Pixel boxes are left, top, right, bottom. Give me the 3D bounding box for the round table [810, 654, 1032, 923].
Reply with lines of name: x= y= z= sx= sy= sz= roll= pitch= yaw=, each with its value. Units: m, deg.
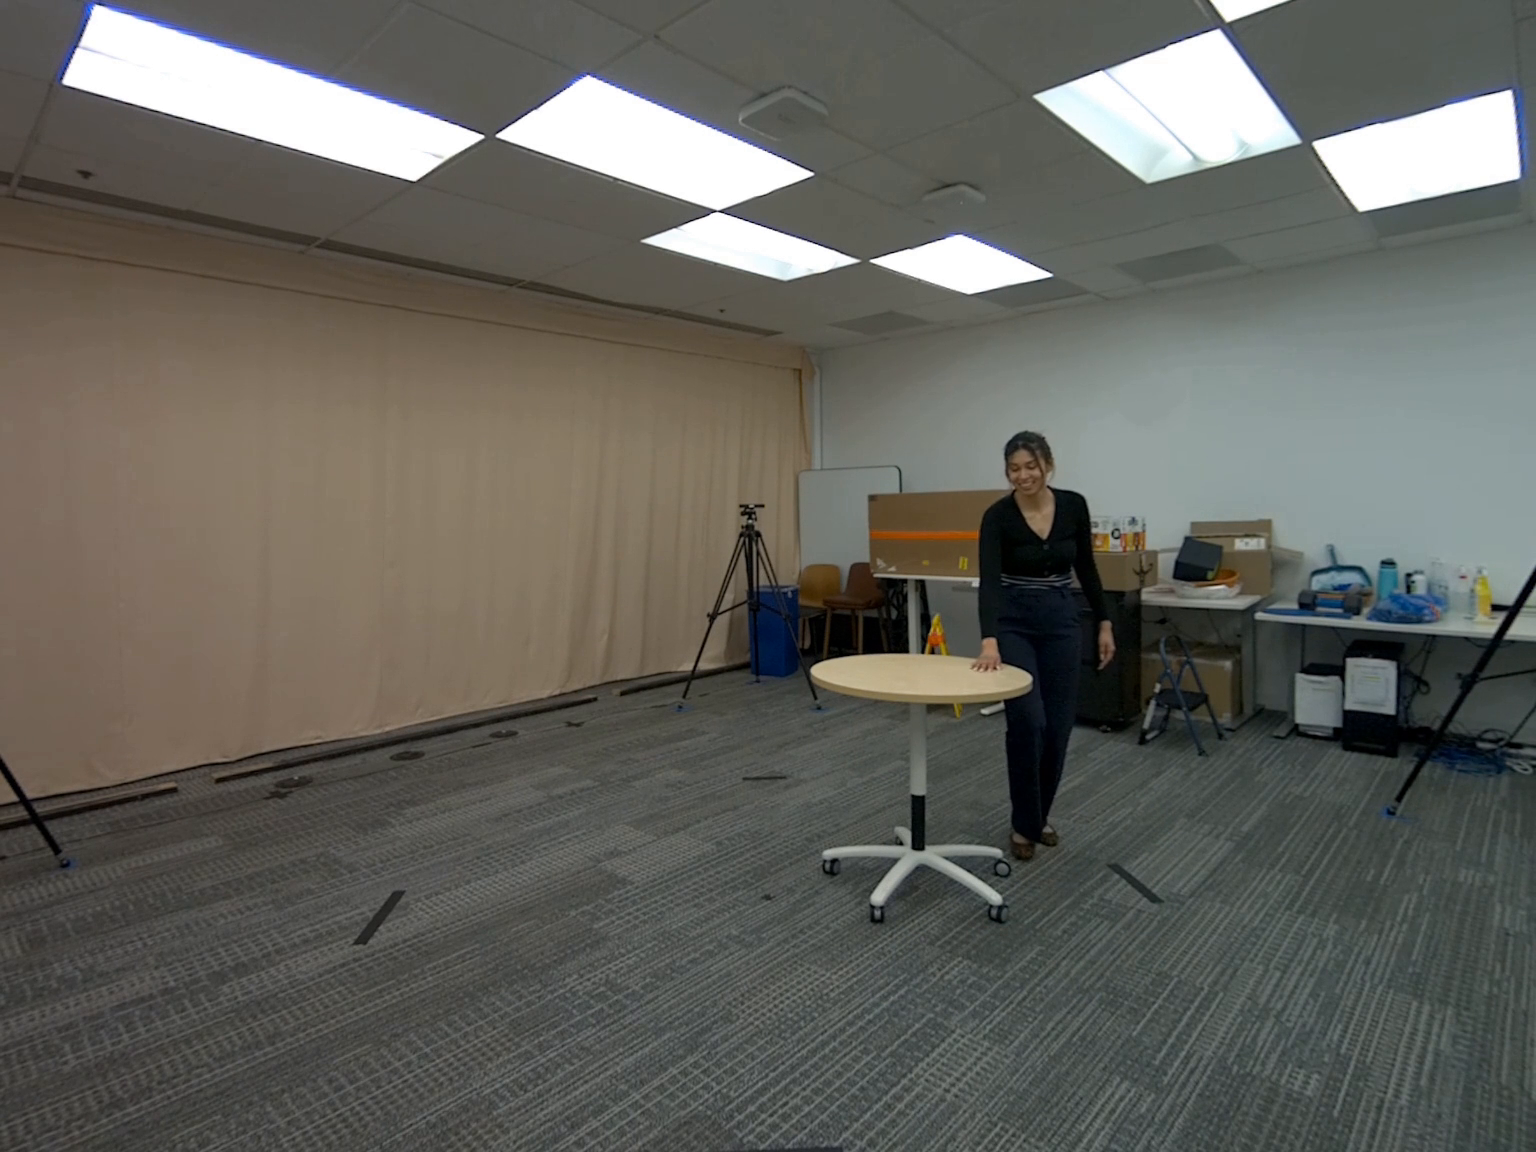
round table: x=0.544 y=0.738 z=3.022 sx=0.763 sy=0.792 sz=0.766 roll=-1 pitch=4 yaw=-2
